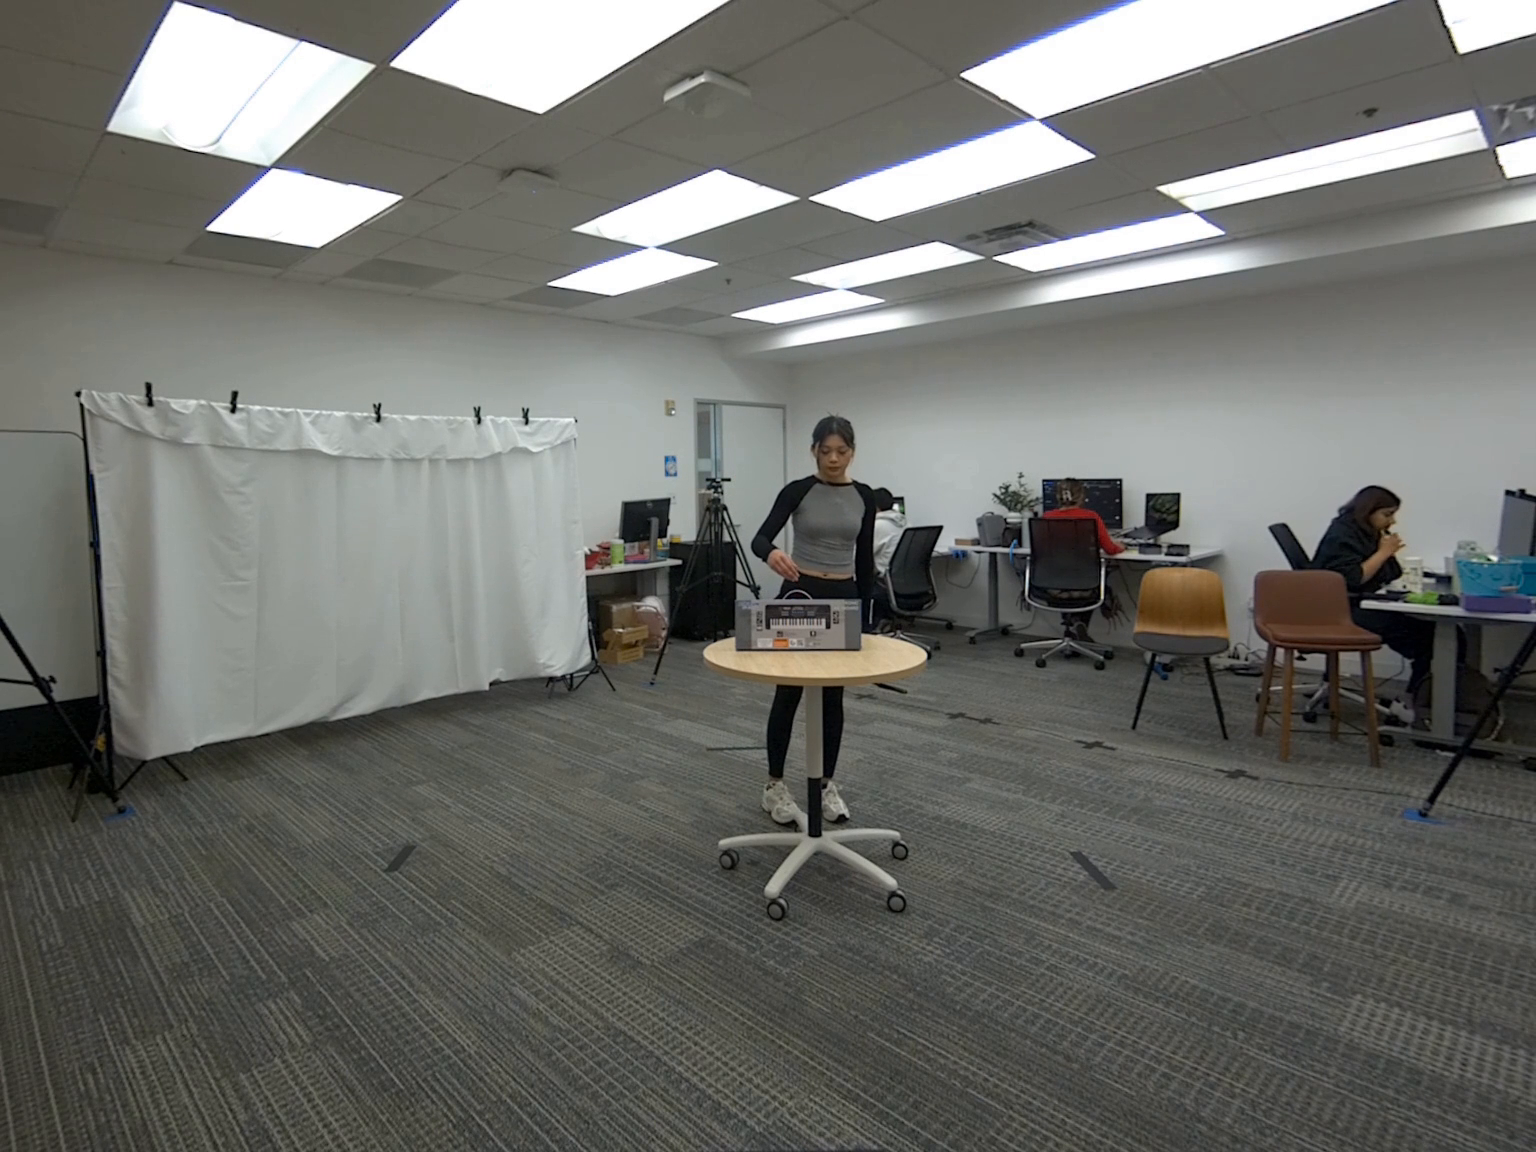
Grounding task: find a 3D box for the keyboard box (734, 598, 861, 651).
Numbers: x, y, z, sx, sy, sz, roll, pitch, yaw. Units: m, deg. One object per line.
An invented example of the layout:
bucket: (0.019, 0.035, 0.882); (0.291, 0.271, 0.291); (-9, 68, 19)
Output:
keyboard box: (0.107, 0.164, 2.996); (0.437, 0.176, 0.059); (-1, 1, 1)
